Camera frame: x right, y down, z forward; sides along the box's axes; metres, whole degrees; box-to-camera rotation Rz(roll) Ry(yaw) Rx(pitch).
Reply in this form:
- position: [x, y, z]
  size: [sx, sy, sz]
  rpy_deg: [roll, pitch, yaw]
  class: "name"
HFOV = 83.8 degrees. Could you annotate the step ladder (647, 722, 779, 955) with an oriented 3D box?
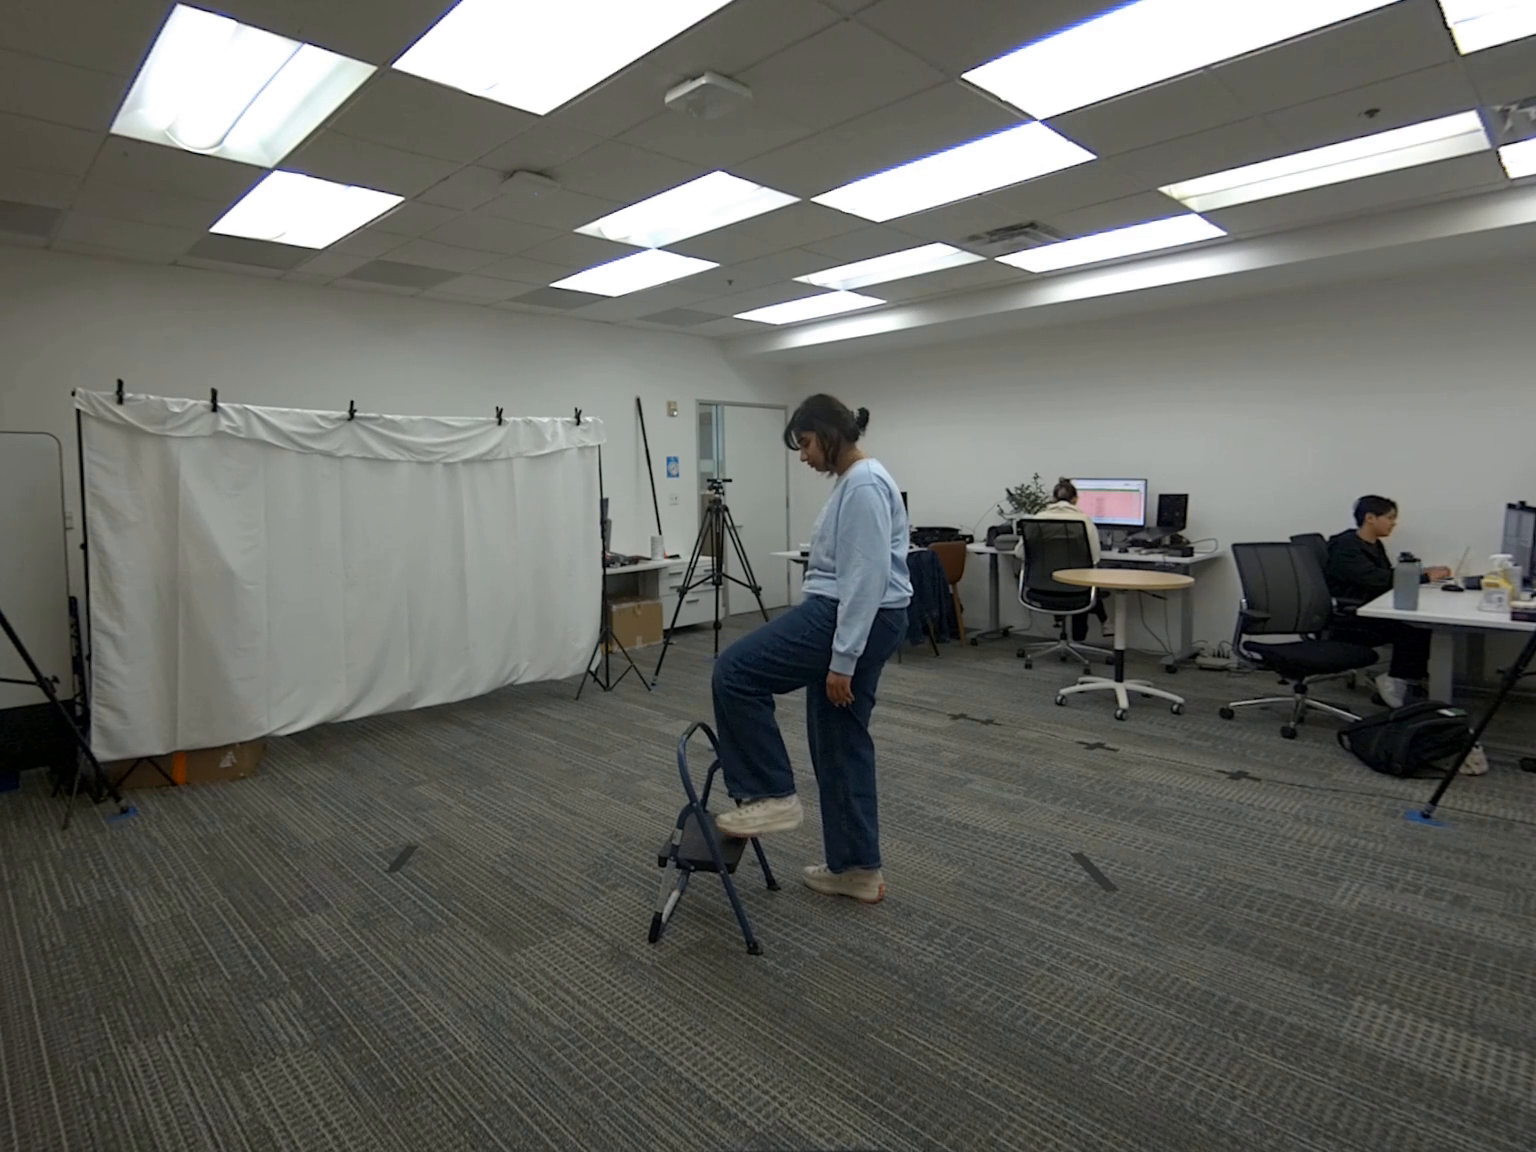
- position: [-0.165, 0.791, 2.728]
  size: [0.353, 0.604, 0.428]
  rpy_deg: [1, 5, 10]
  class: "step ladder"
